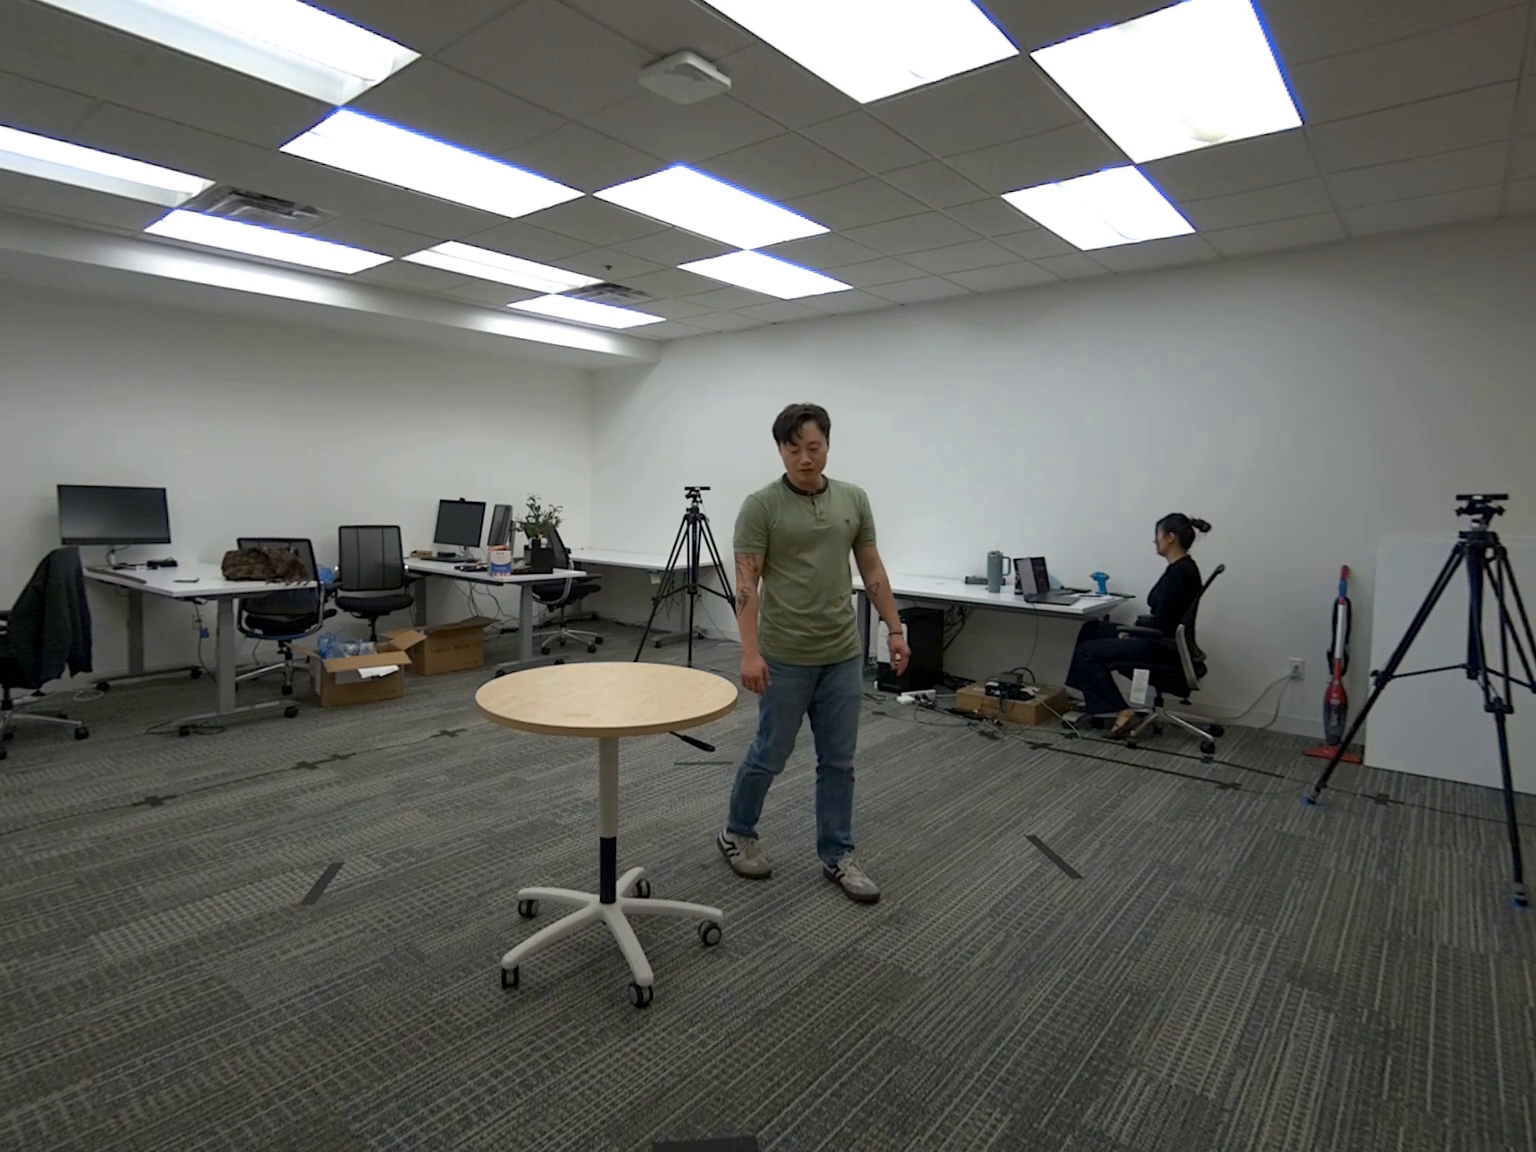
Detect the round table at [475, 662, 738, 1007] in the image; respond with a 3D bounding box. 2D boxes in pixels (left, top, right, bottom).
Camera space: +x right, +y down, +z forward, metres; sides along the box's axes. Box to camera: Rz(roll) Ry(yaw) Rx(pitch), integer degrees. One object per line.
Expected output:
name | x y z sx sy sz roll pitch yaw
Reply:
round table | -0.484 0.729 2.552 0.763 0.791 0.768 0 5 -2
